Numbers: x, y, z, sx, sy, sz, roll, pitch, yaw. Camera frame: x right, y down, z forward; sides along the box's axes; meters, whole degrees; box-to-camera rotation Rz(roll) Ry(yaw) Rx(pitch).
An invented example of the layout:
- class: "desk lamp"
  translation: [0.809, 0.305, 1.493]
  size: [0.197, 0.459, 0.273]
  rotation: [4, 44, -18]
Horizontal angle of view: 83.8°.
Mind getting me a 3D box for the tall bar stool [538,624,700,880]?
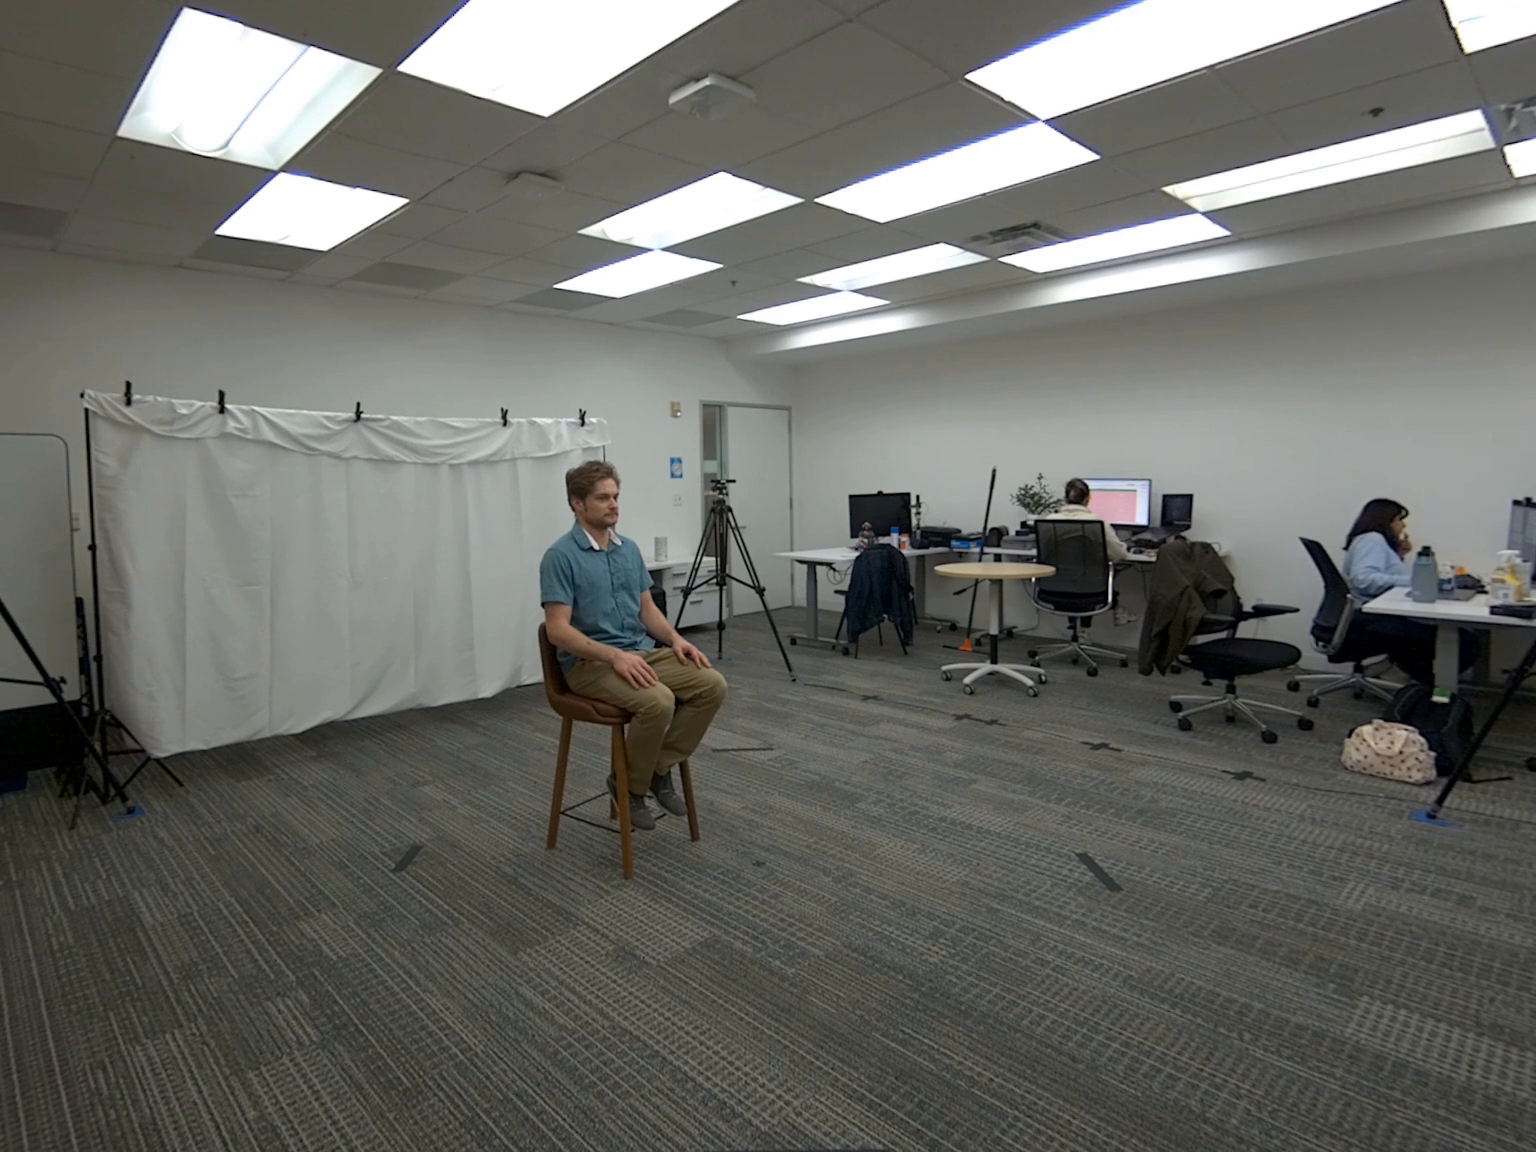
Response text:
- class: "tall bar stool"
  translation: [-0.579, 0.601, 3.284]
  size: [0.480, 0.888, 0.445]
  rotation: [-1, 2, 36]
